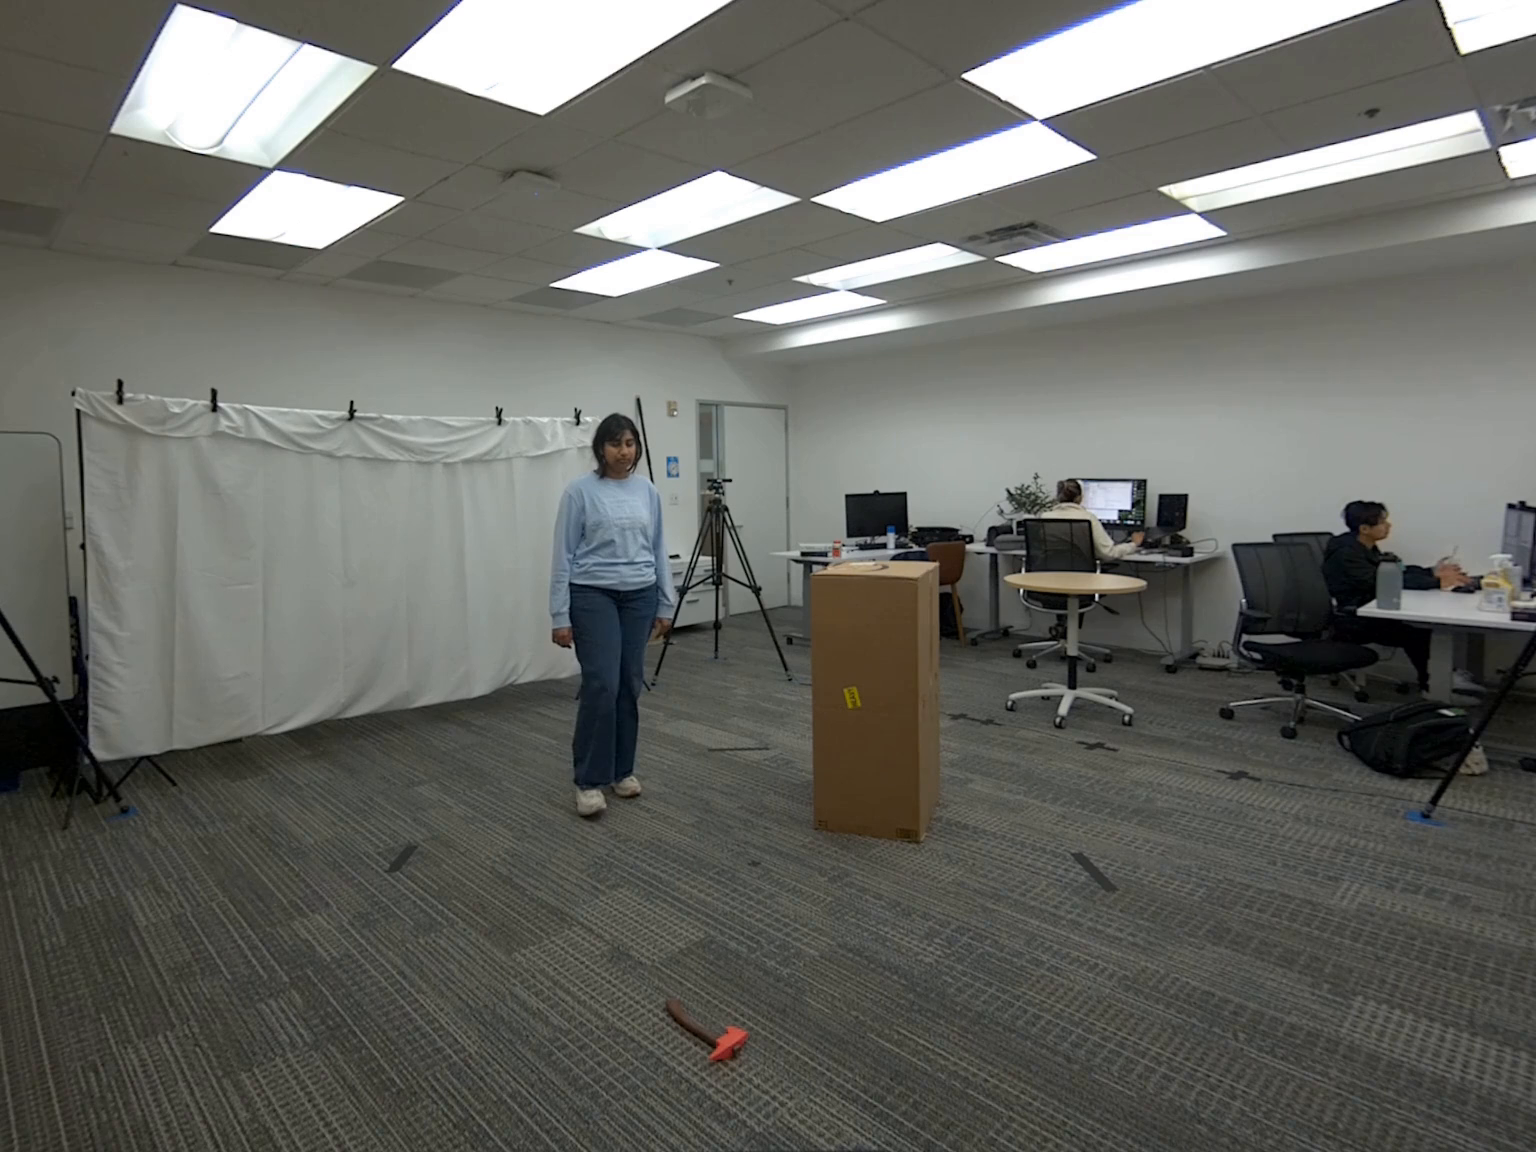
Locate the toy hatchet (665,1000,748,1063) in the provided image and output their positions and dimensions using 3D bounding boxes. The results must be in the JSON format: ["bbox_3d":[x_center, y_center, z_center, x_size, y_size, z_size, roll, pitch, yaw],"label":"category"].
[{"bbox_3d":[-0.141,1.154,2.177,0.128,0.029,0.277,-6,7,-30],"label":"toy hatchet"}]
